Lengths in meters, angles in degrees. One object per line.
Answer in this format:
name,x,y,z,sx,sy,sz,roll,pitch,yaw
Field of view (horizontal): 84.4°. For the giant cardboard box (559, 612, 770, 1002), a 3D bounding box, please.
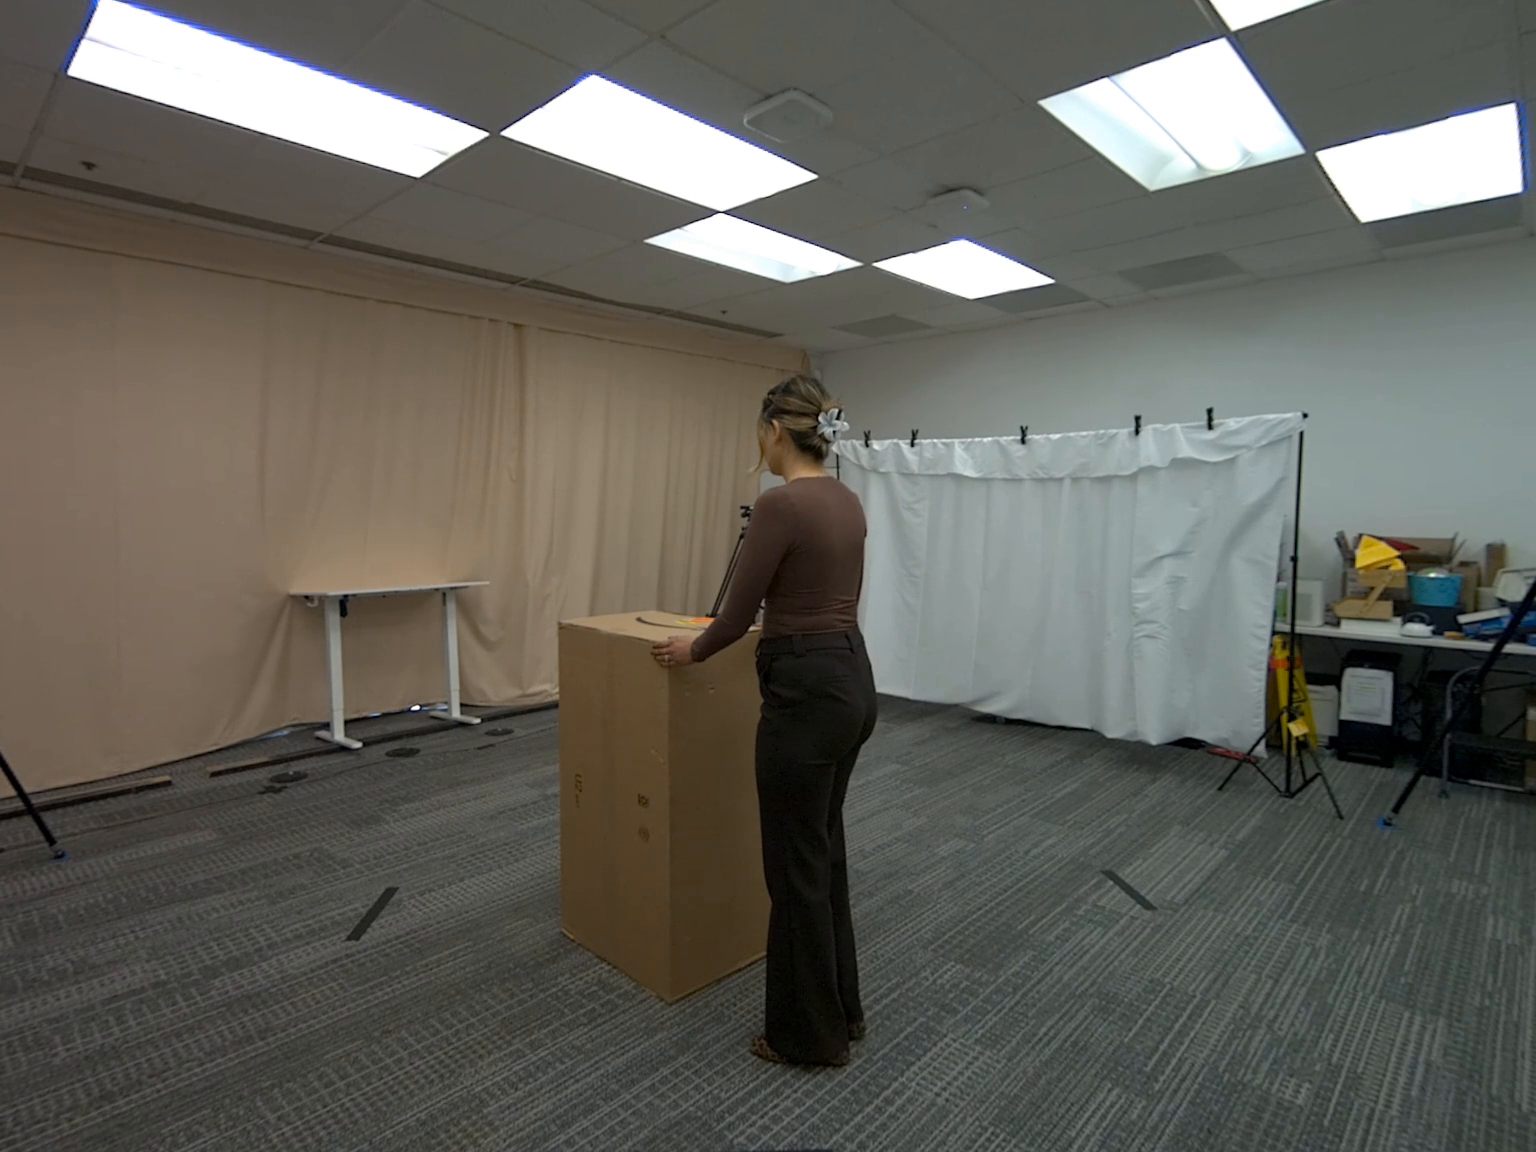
giant cardboard box,-0.329,0.662,2.681,0.433,1.025,0.603,-1,3,-43
